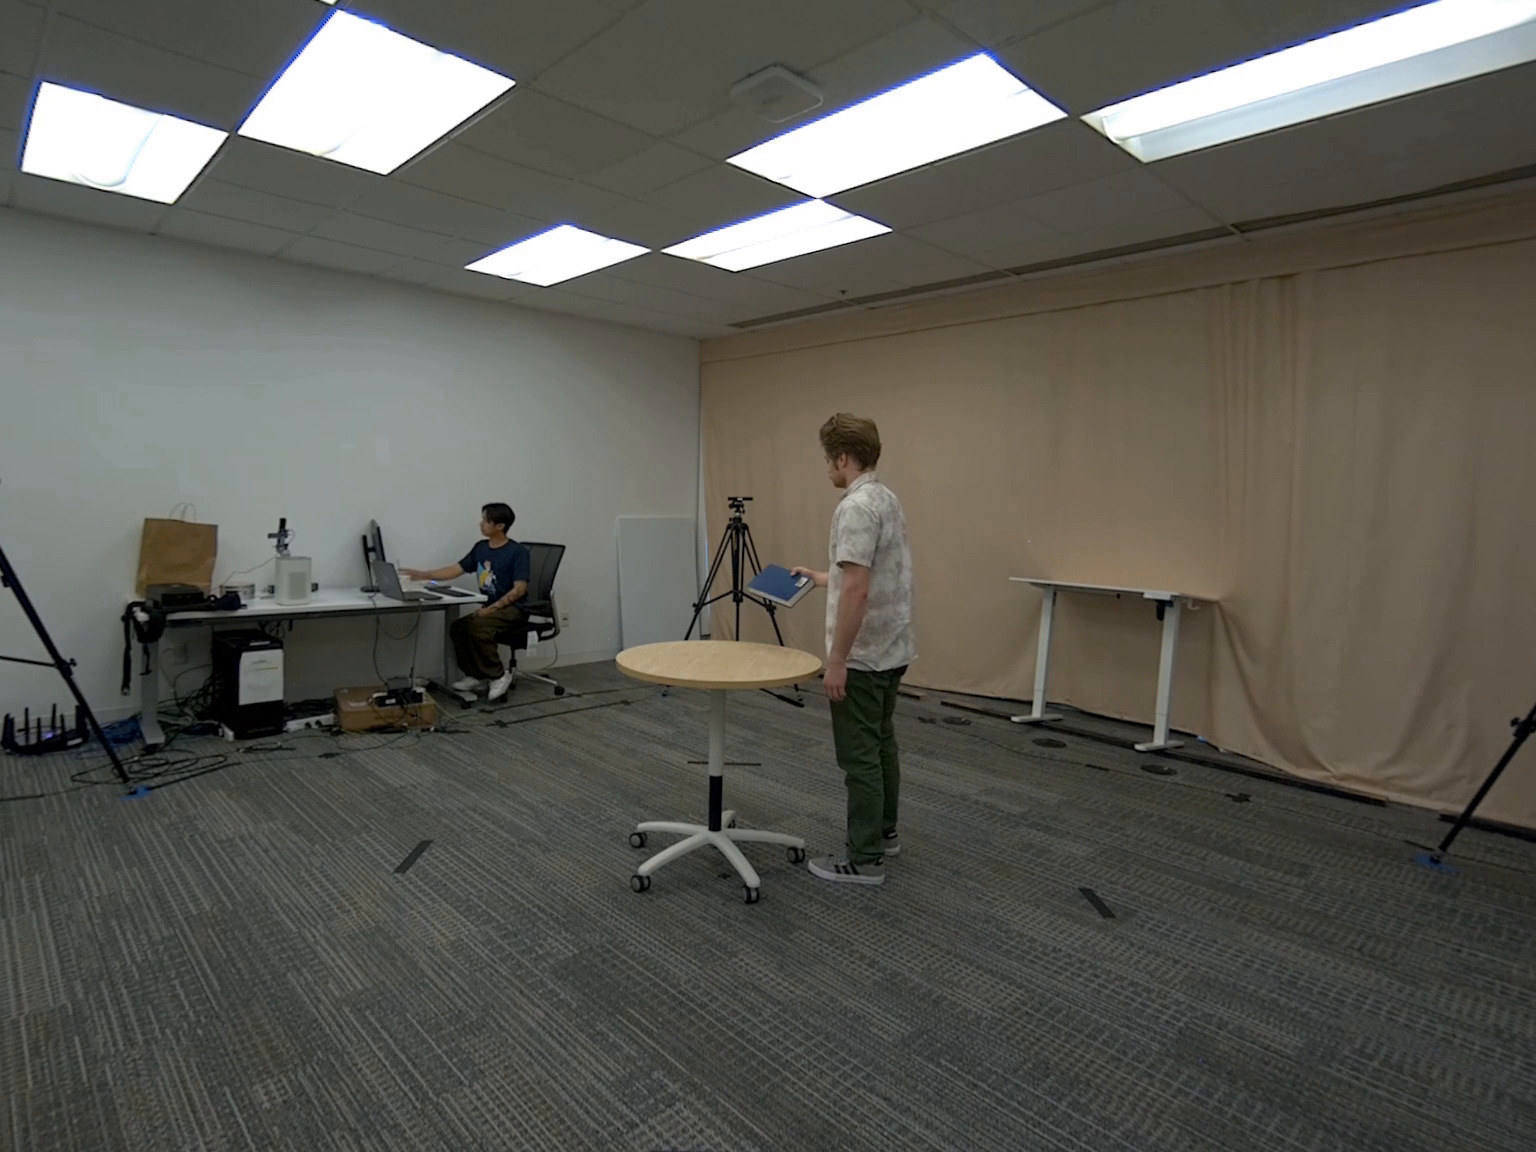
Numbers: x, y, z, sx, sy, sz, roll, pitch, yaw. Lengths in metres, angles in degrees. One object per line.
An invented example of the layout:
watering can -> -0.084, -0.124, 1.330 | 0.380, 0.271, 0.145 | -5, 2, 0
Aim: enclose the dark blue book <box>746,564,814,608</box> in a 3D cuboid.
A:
dark blue book -> 0.048, 0.041, 3.464 | 0.252, 0.044, 0.163 | 19, 51, 44
